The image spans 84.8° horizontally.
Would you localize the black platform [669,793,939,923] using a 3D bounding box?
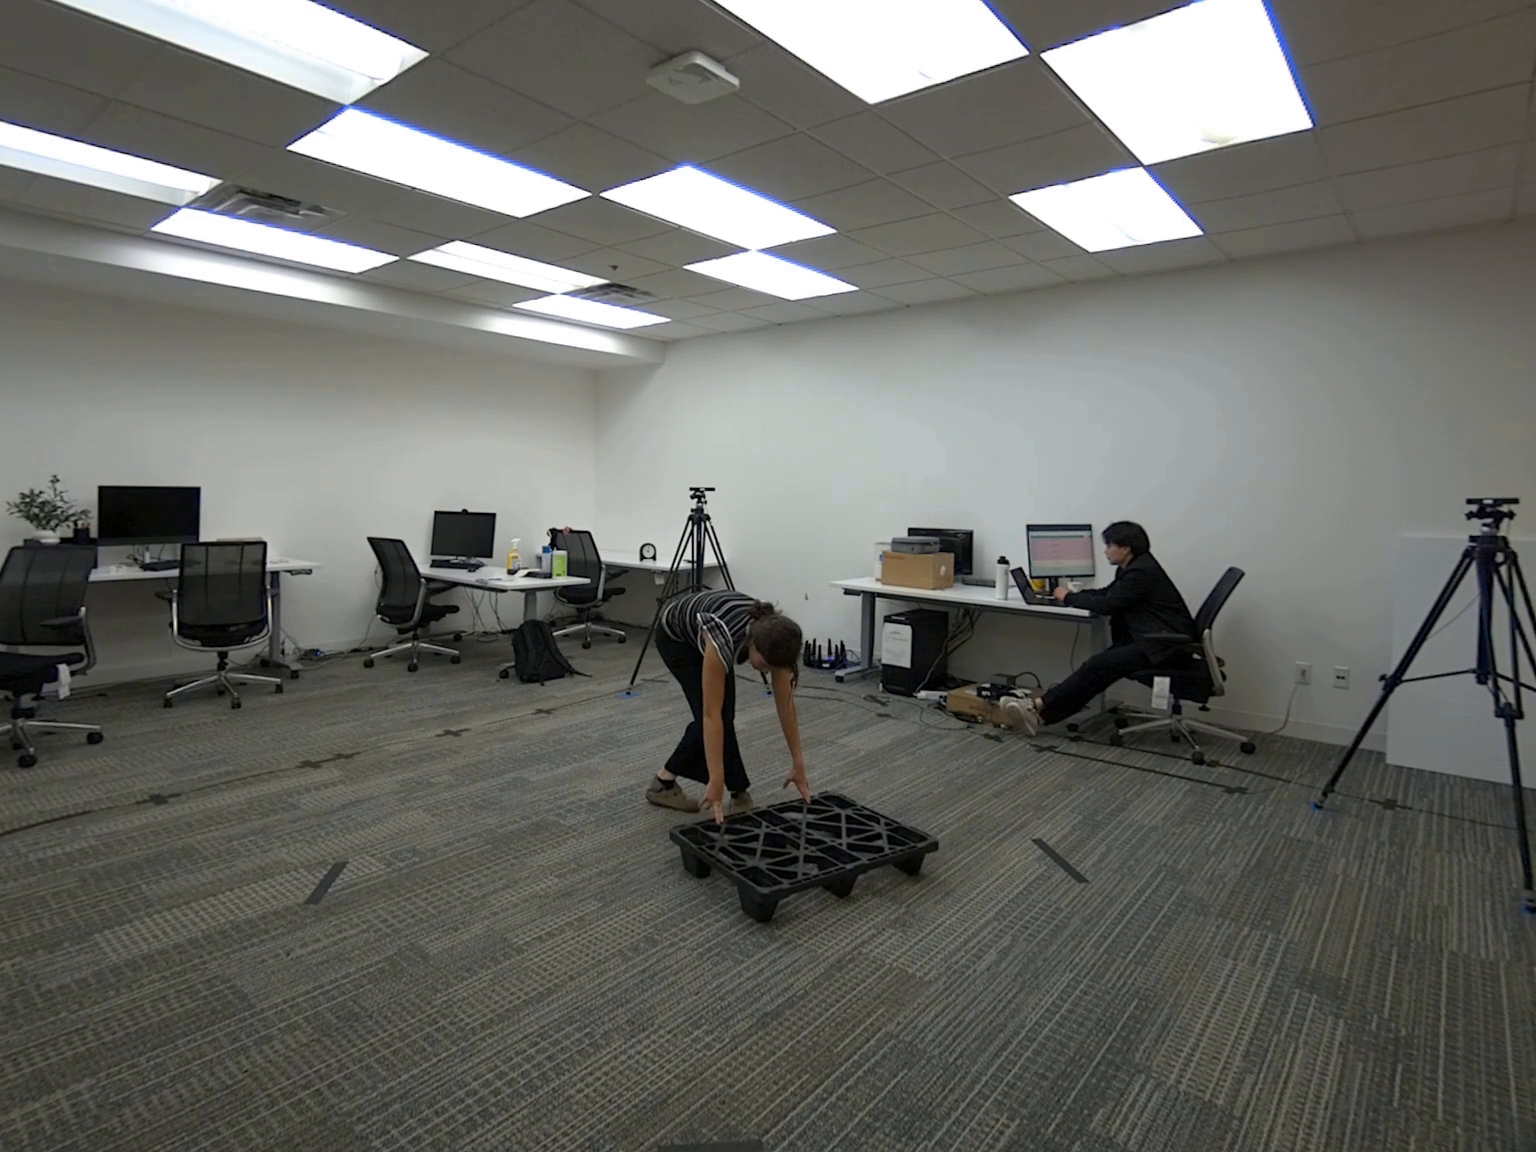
[{"bbox_3d":[0.121,1.005,3.108,0.783,0.143,0.625,-3,7,-35],"label":"black platform"}]
